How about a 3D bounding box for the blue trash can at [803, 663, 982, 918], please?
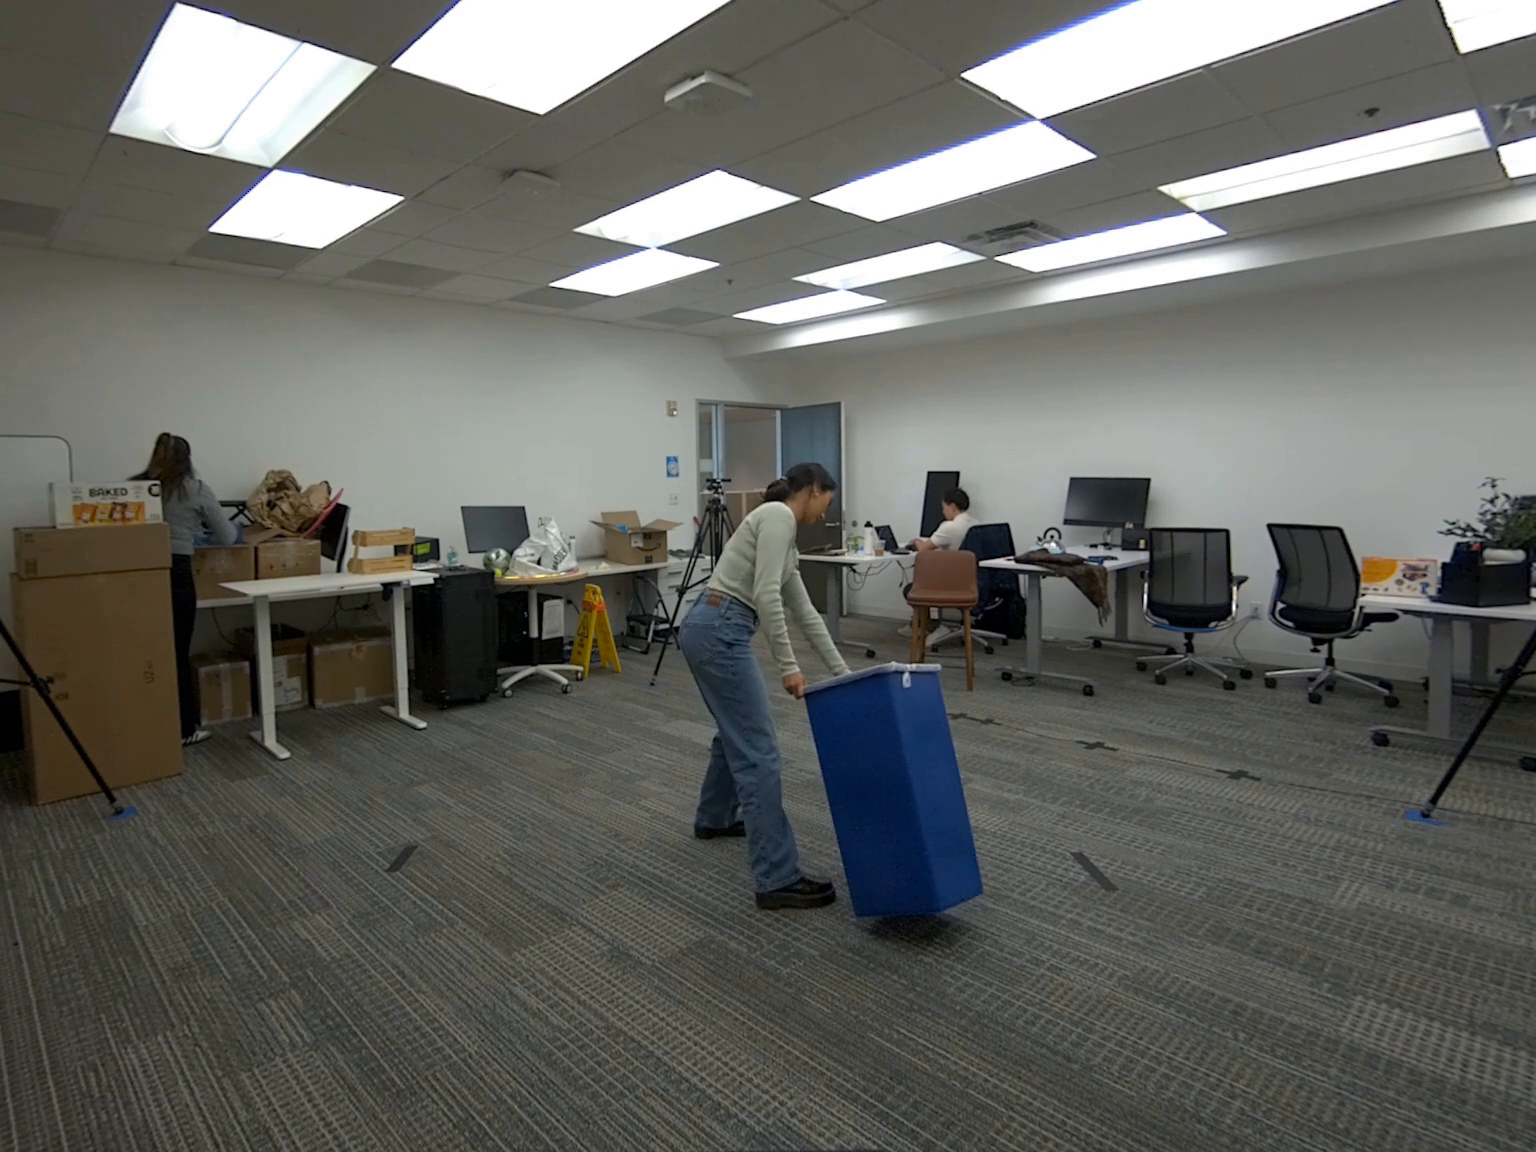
[{"bbox_3d":[0.397,0.679,2.752,0.380,0.726,0.365,-22,-21,35],"label":"blue trash can"}]
